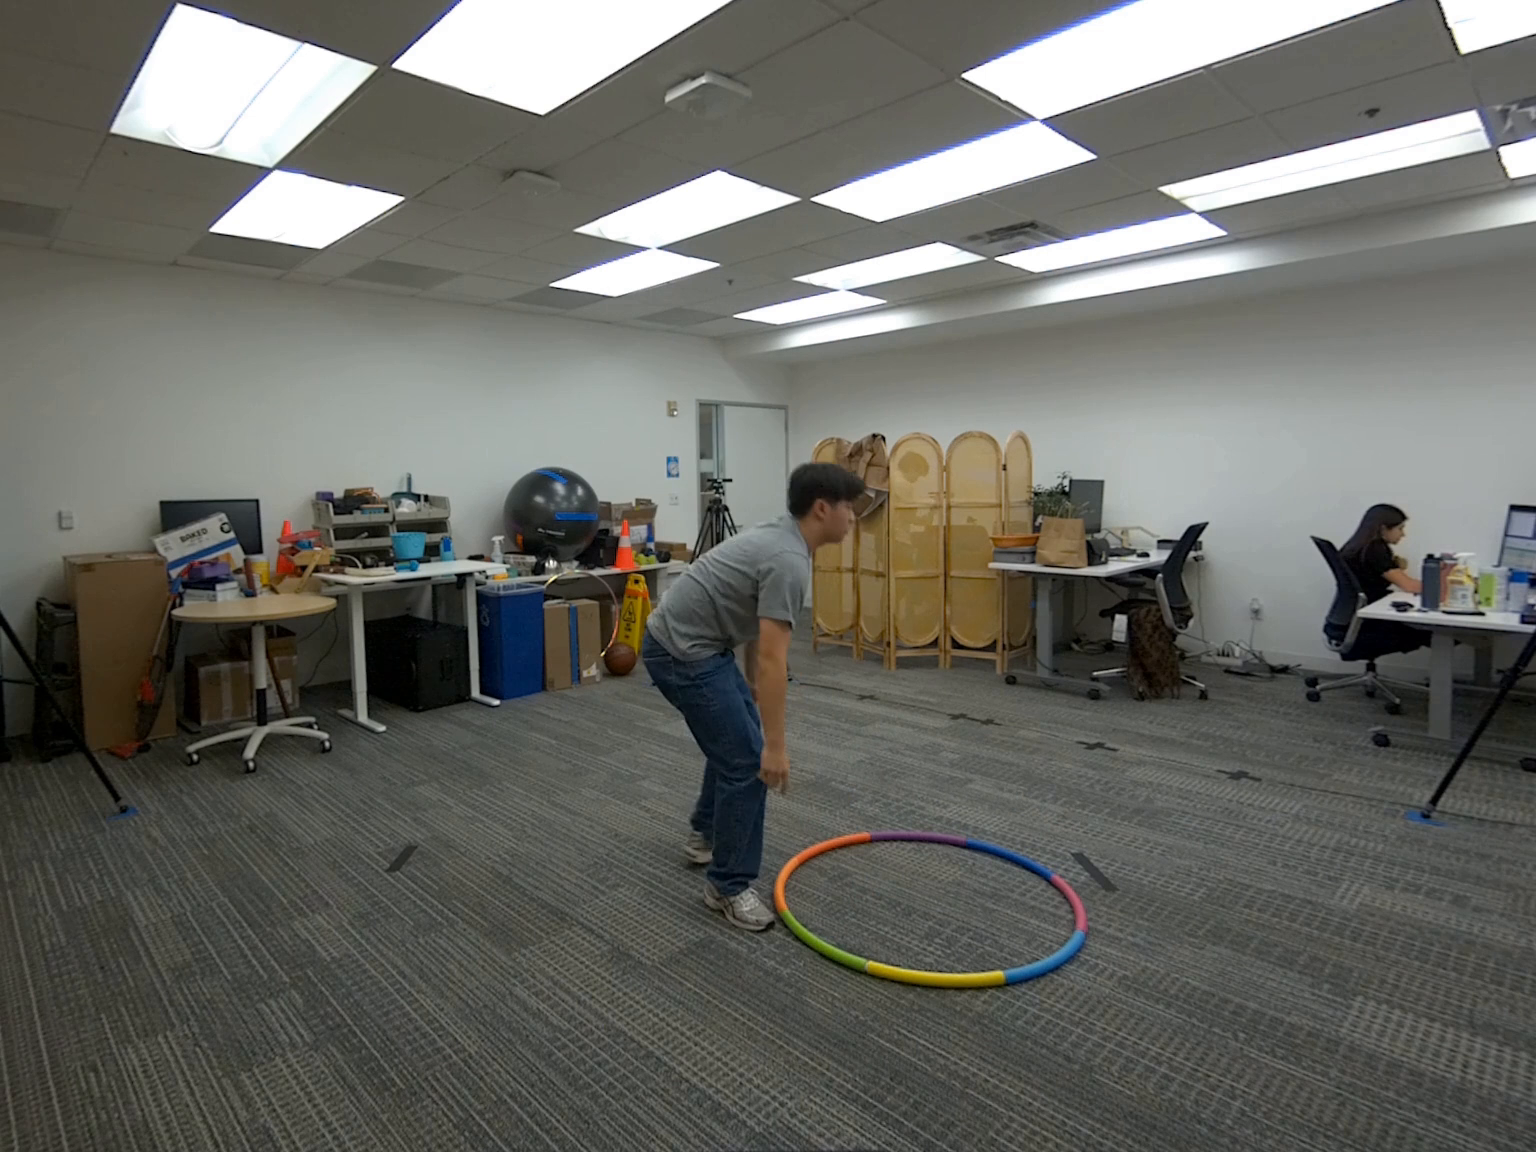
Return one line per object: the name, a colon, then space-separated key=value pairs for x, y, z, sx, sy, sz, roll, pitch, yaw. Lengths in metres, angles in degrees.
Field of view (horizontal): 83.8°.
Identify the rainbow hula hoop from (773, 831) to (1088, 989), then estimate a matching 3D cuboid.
rainbow hula hoop: x=0.510 y=1.041 z=2.811 sx=0.978 sy=0.035 sz=0.984 roll=-1 pitch=7 yaw=-2
